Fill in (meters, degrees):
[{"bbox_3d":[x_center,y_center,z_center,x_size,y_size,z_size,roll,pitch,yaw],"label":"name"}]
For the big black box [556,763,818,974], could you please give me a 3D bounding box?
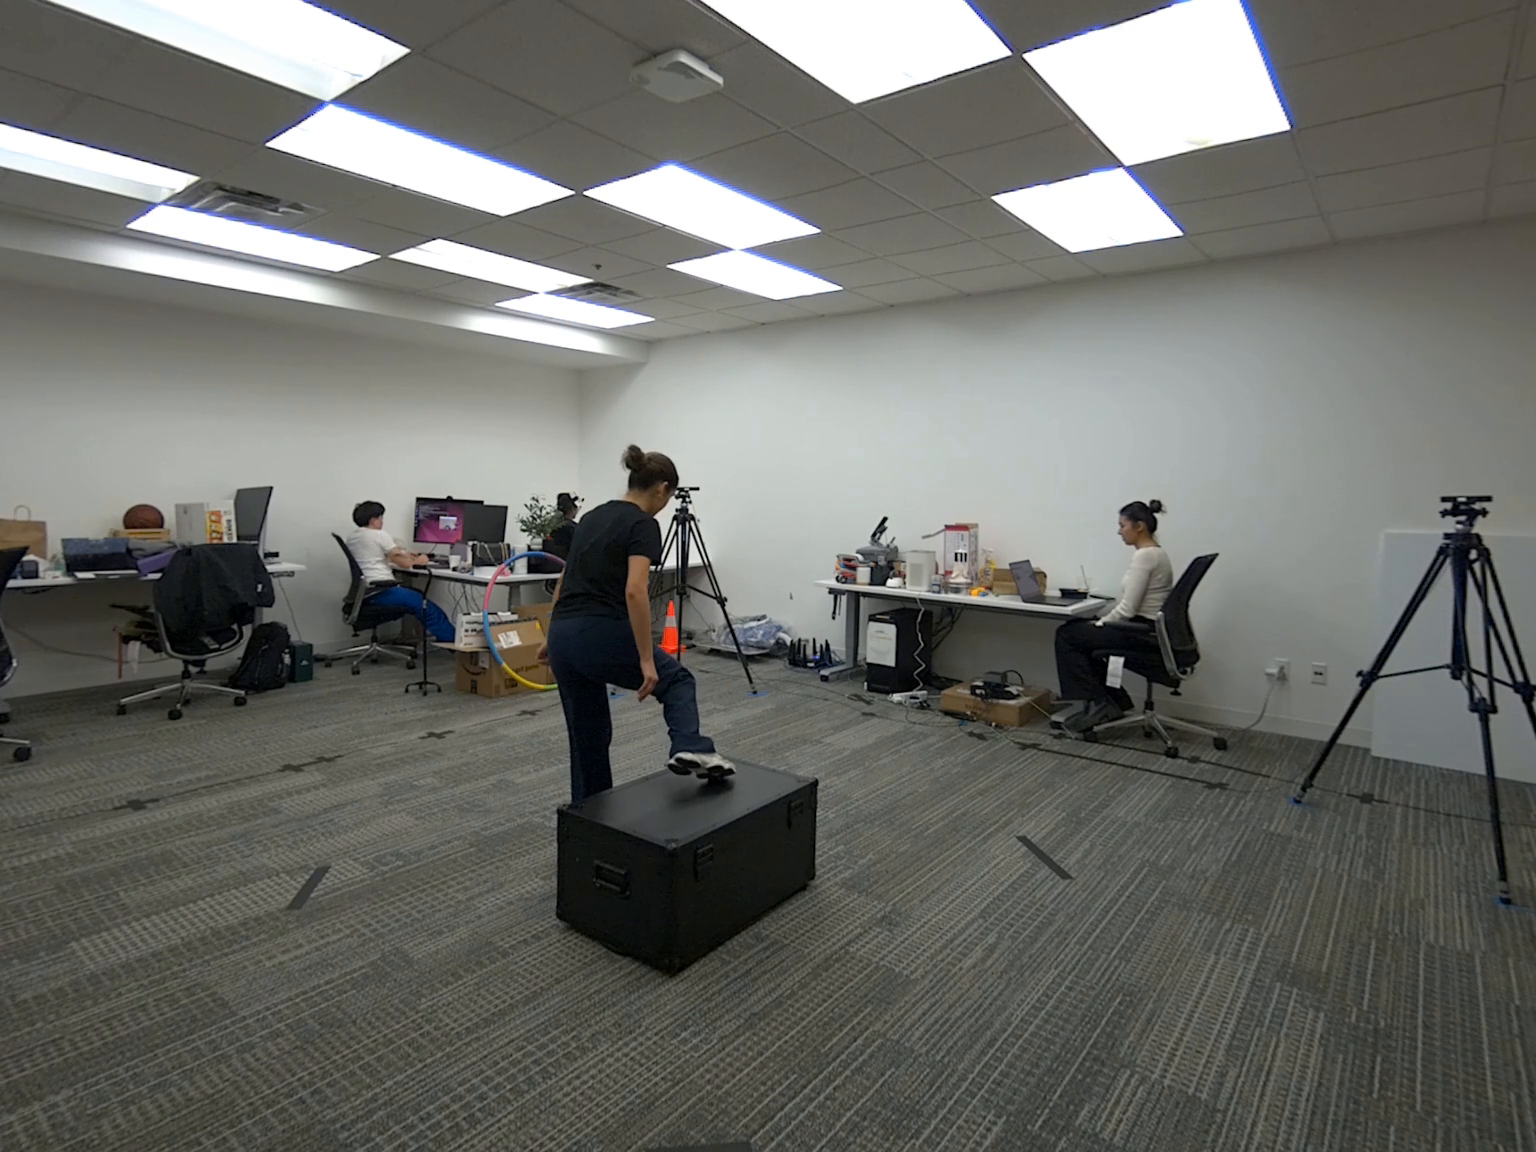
[{"bbox_3d":[-0.213,0.901,2.865,0.538,0.394,0.838,4,7,36],"label":"big black box"}]
